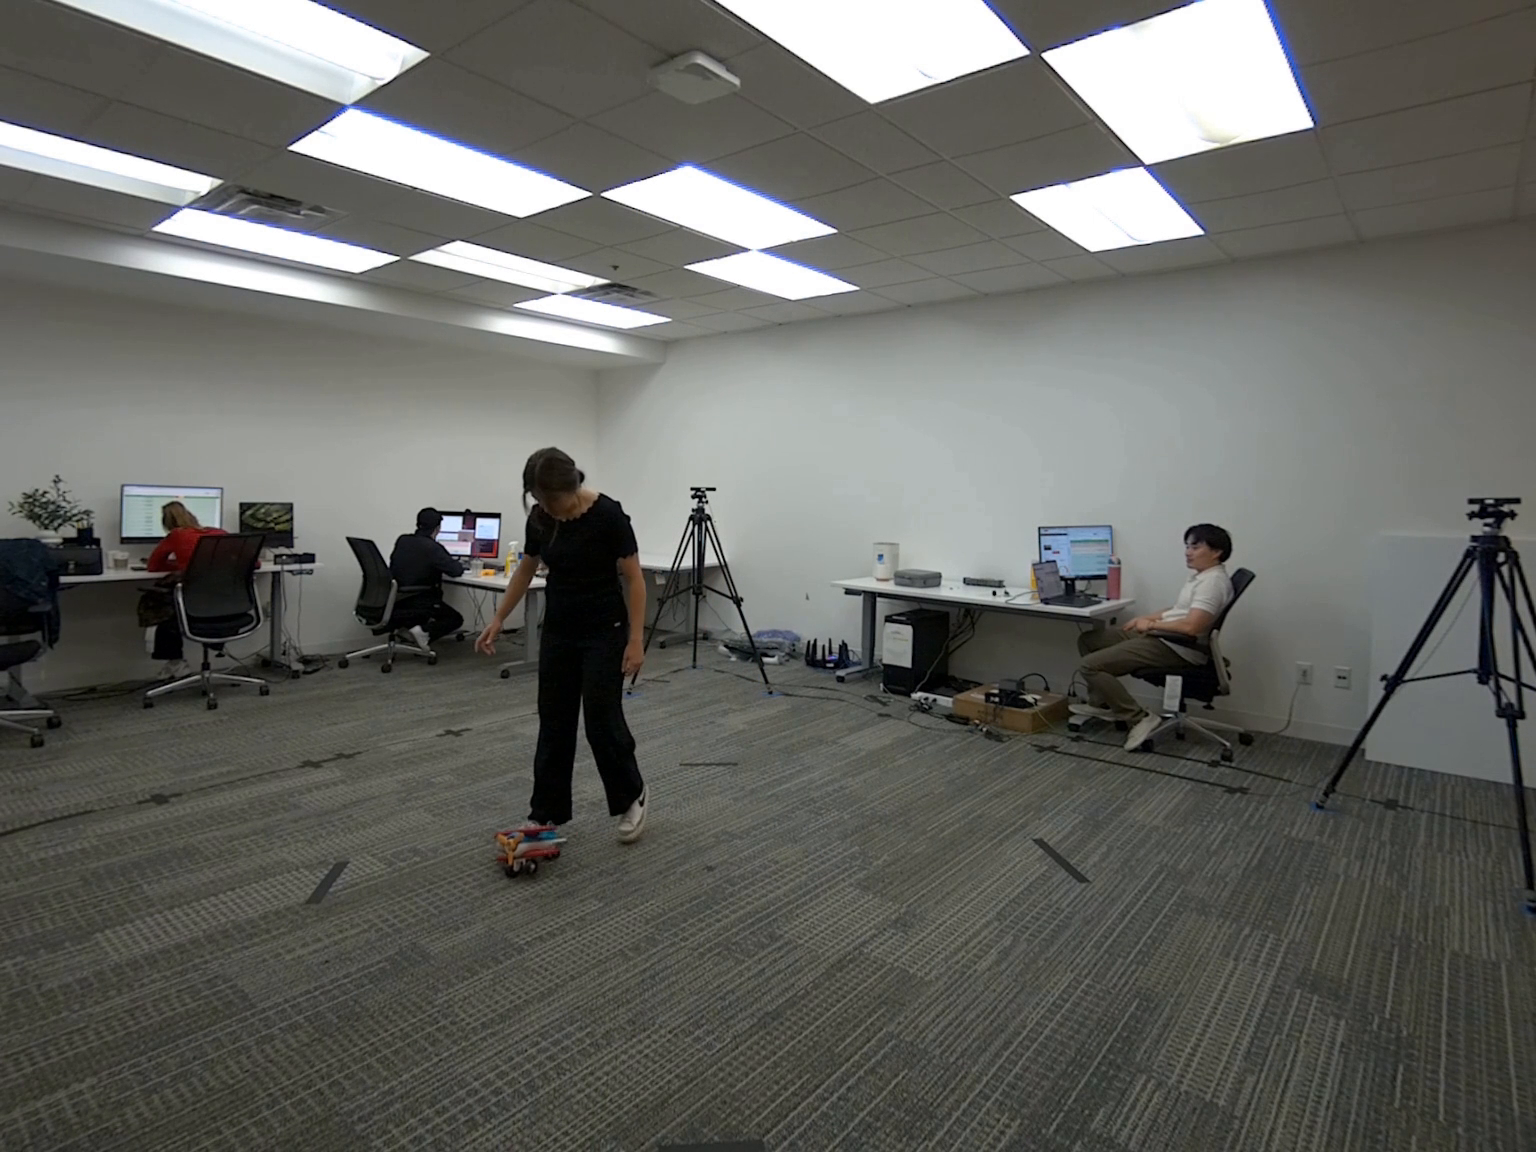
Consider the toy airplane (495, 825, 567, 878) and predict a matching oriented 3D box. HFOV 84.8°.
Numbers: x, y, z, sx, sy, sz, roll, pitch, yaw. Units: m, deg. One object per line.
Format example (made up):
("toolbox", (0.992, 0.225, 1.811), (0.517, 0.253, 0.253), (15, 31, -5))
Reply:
("toy airplane", (-0.884, 0.983, 3.084), (0.250, 0.157, 0.259), (-12, -3, -6))
